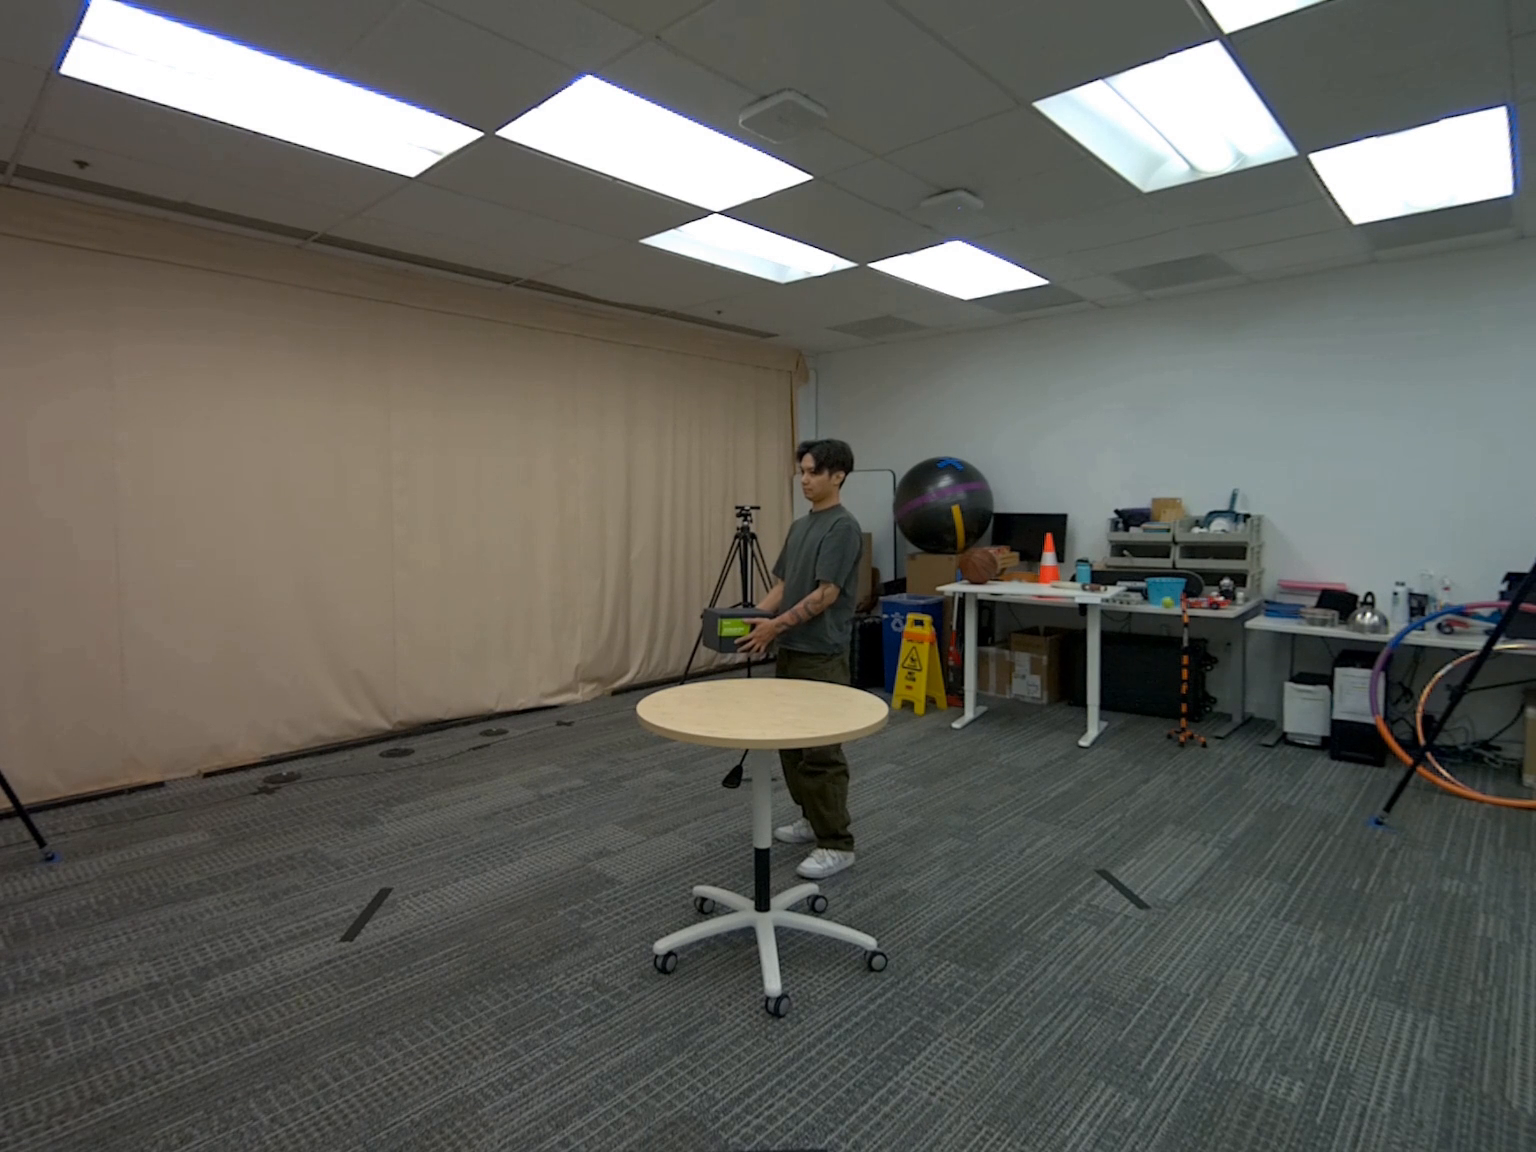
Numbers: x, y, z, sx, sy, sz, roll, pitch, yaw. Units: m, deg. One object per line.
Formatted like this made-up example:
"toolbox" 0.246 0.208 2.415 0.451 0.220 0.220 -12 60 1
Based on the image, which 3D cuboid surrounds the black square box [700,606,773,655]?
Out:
"black square box" -0.111 0.219 3.378 0.224 0.156 0.221 2 2 -18
